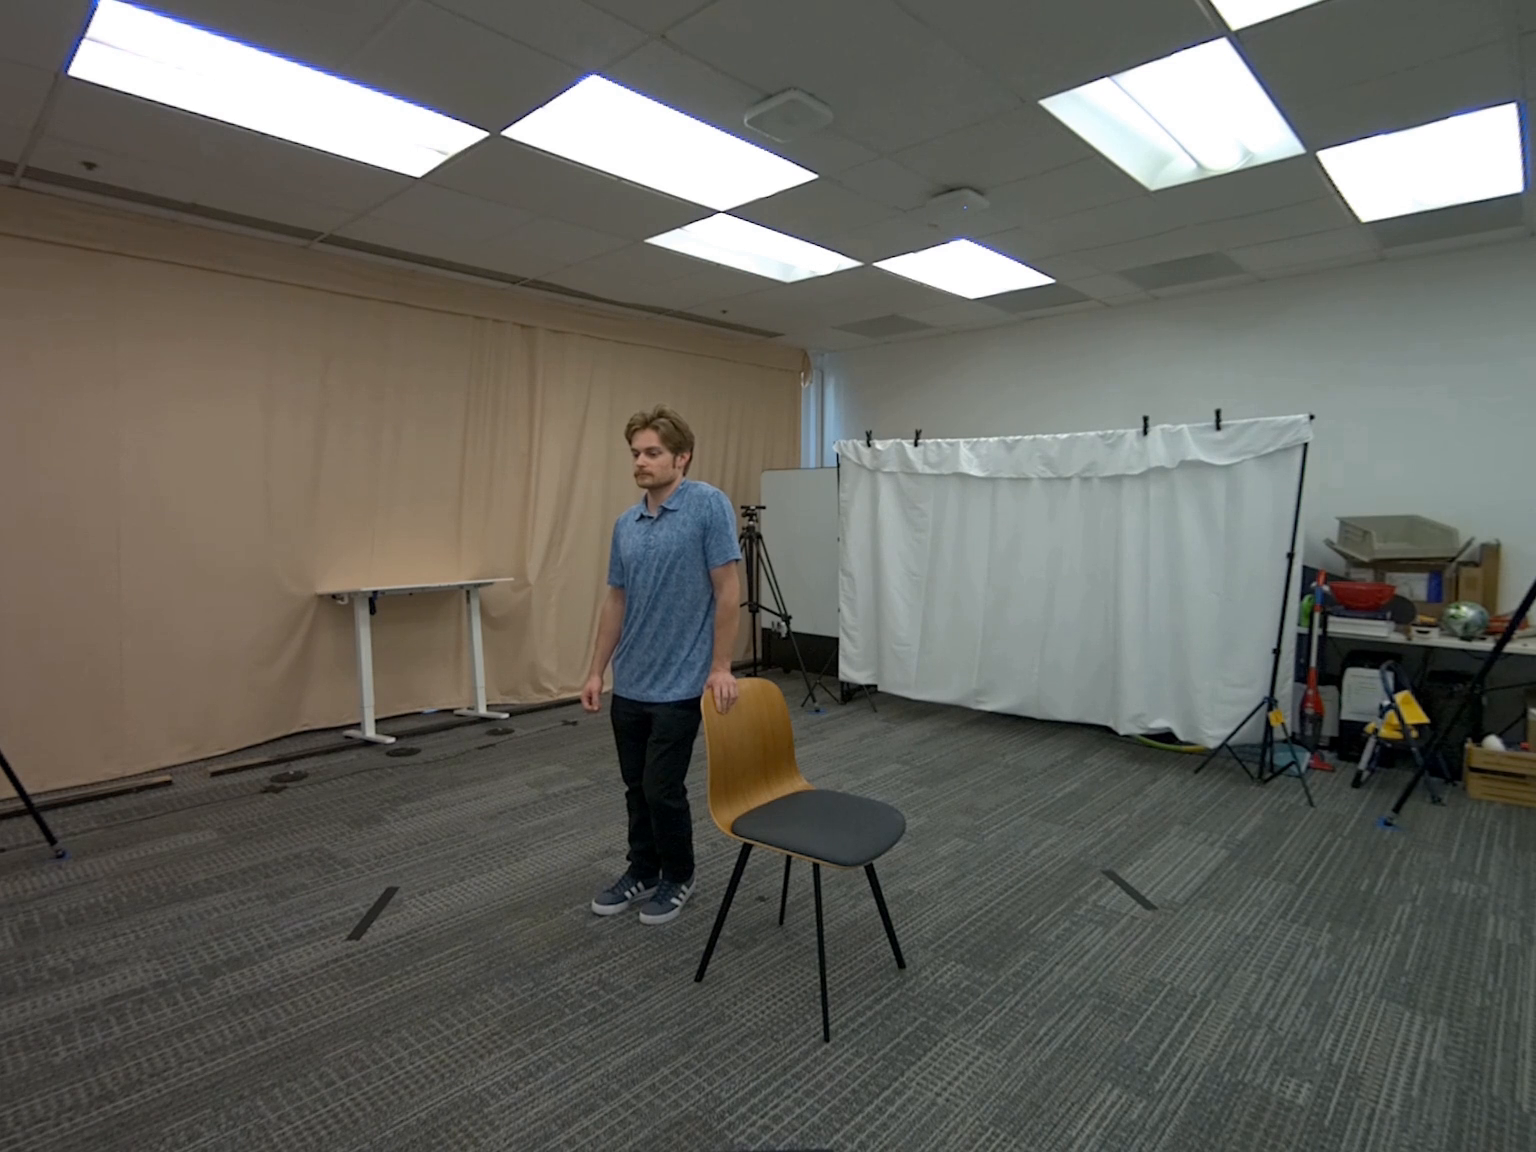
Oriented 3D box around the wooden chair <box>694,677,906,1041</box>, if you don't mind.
[{"bbox_3d":[0.113,0.759,2.466,0.539,0.877,0.464,-3,0,37],"label":"wooden chair"}]
